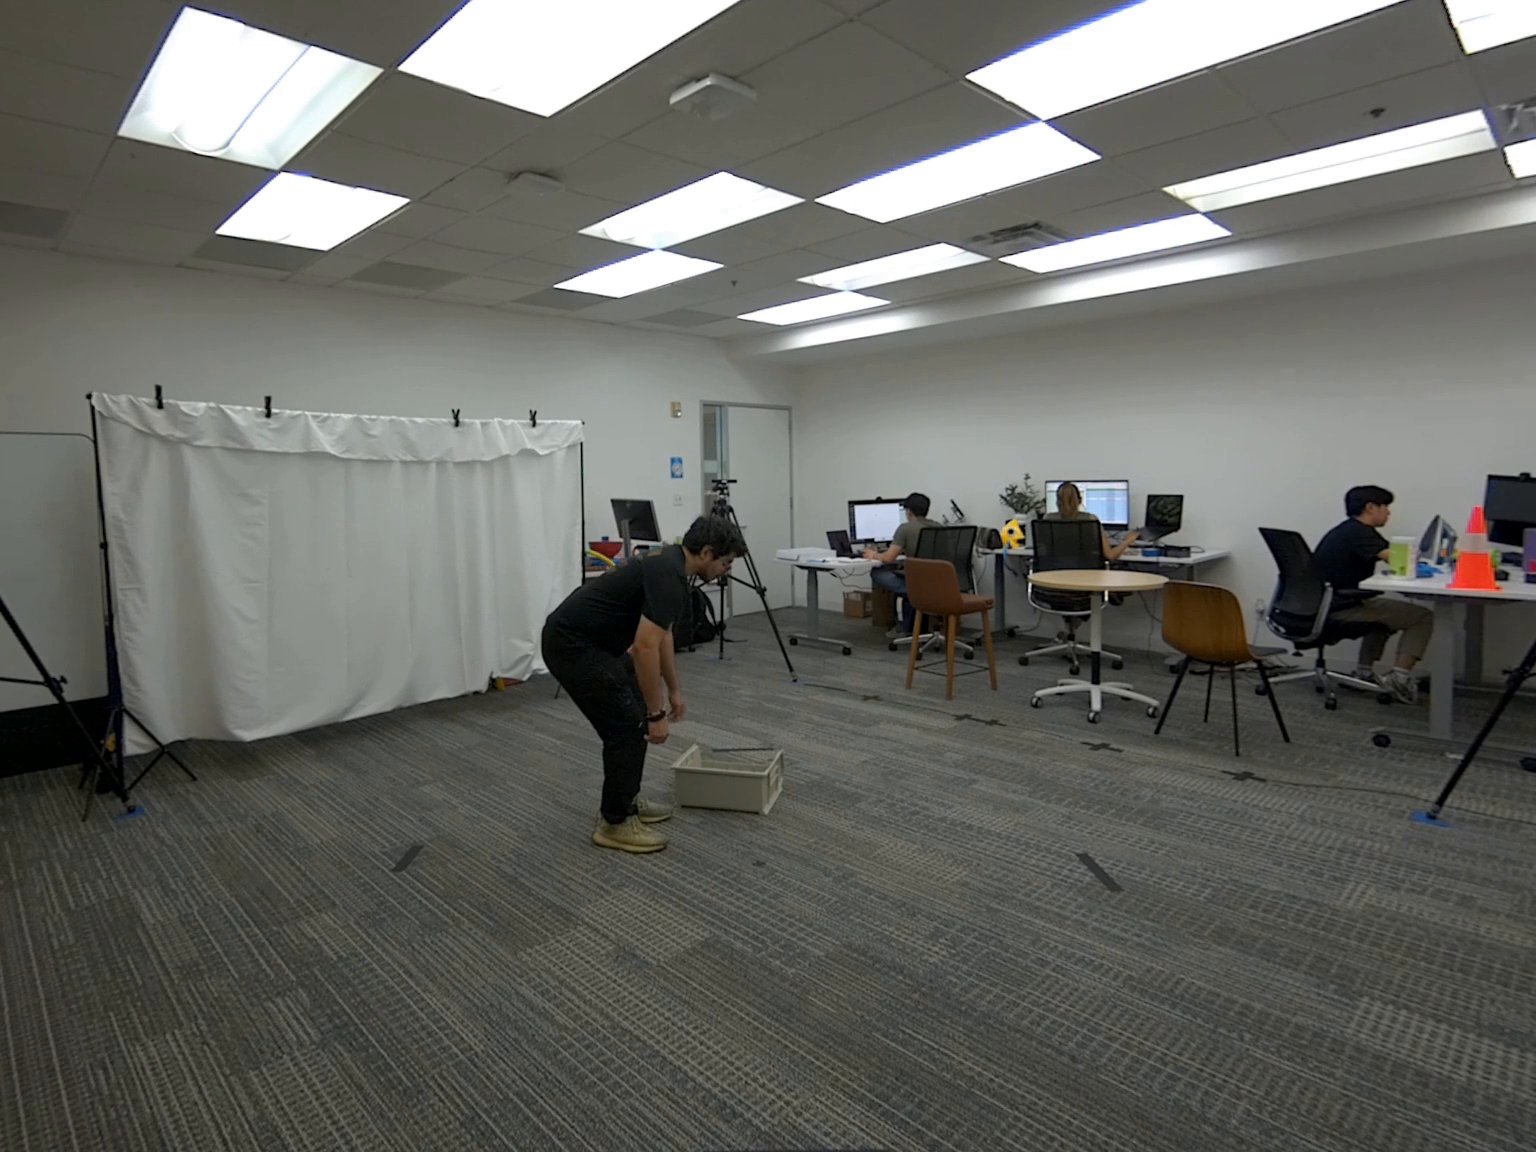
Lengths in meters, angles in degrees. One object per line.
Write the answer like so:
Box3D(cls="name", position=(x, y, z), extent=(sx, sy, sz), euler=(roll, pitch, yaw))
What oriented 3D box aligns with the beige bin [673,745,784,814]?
Box3D(cls="beige bin", position=(-0.170, 0.887, 3.783), extent=(0.429, 0.188, 0.374), euler=(1, 7, 15))
